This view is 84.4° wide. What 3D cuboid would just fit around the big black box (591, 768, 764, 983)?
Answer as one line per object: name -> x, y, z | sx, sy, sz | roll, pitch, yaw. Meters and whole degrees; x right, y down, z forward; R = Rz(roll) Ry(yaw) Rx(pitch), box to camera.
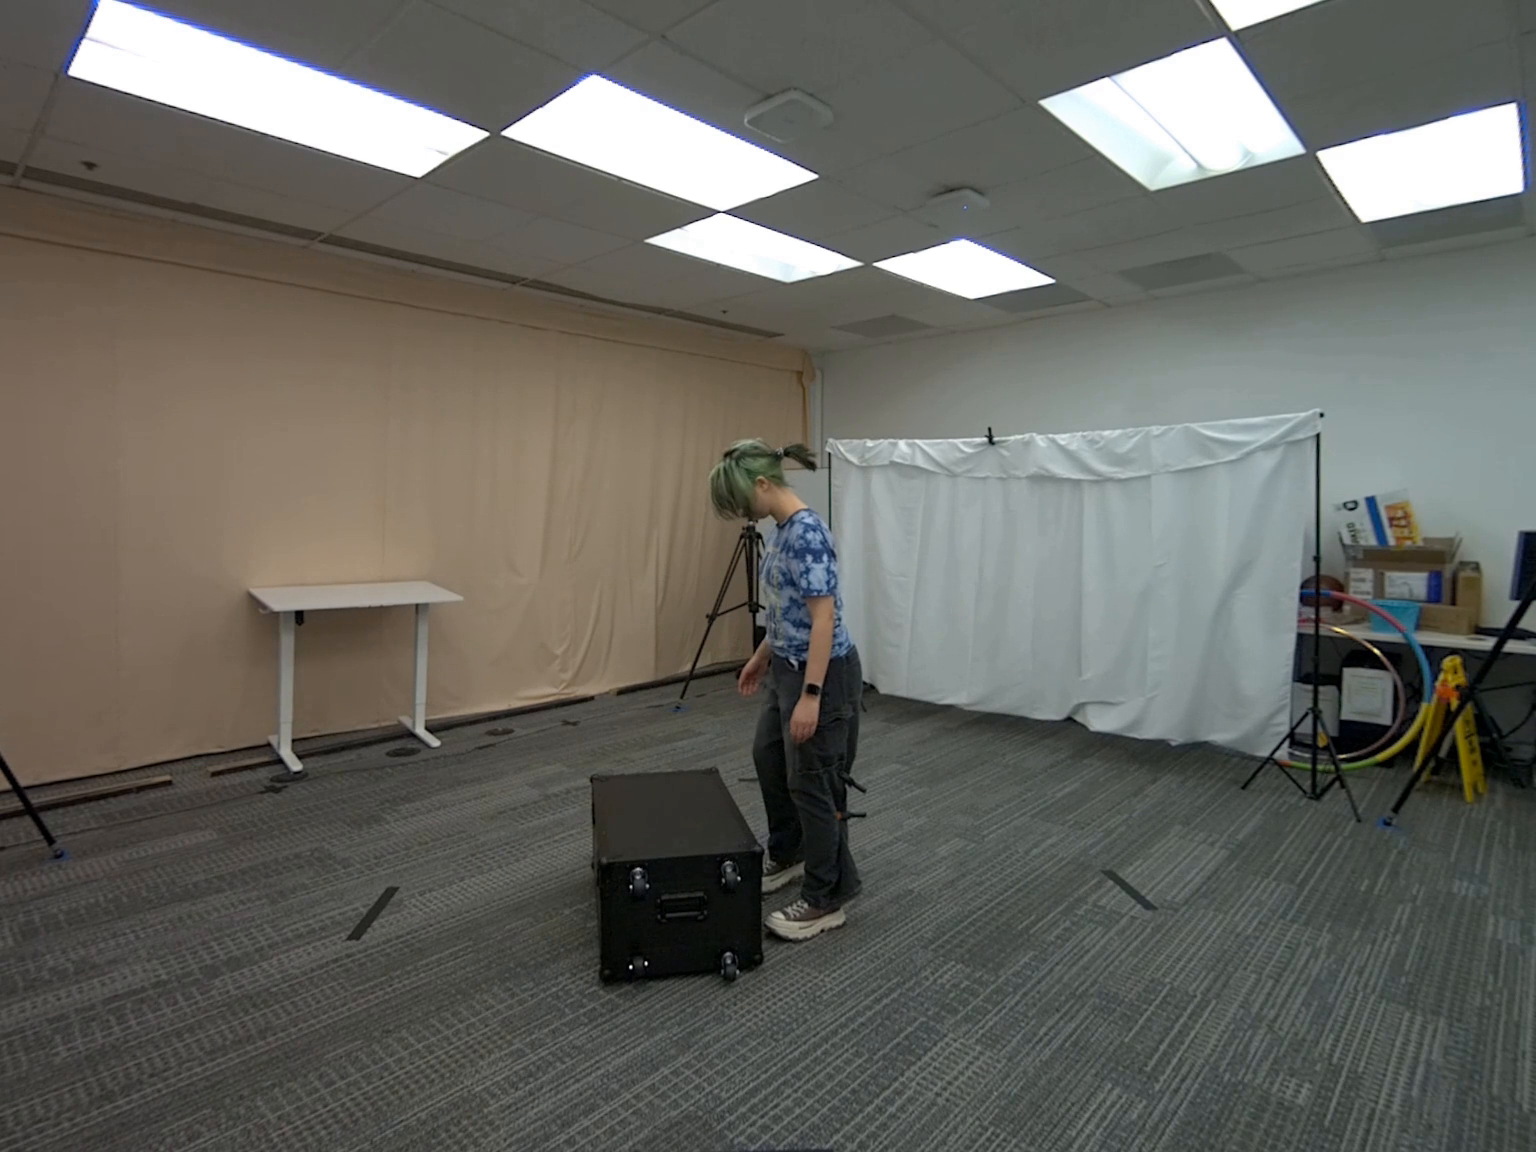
big black box -> -0.343, 0.961, 2.871 | 0.515, 0.395, 0.874 | 0, 5, -13
